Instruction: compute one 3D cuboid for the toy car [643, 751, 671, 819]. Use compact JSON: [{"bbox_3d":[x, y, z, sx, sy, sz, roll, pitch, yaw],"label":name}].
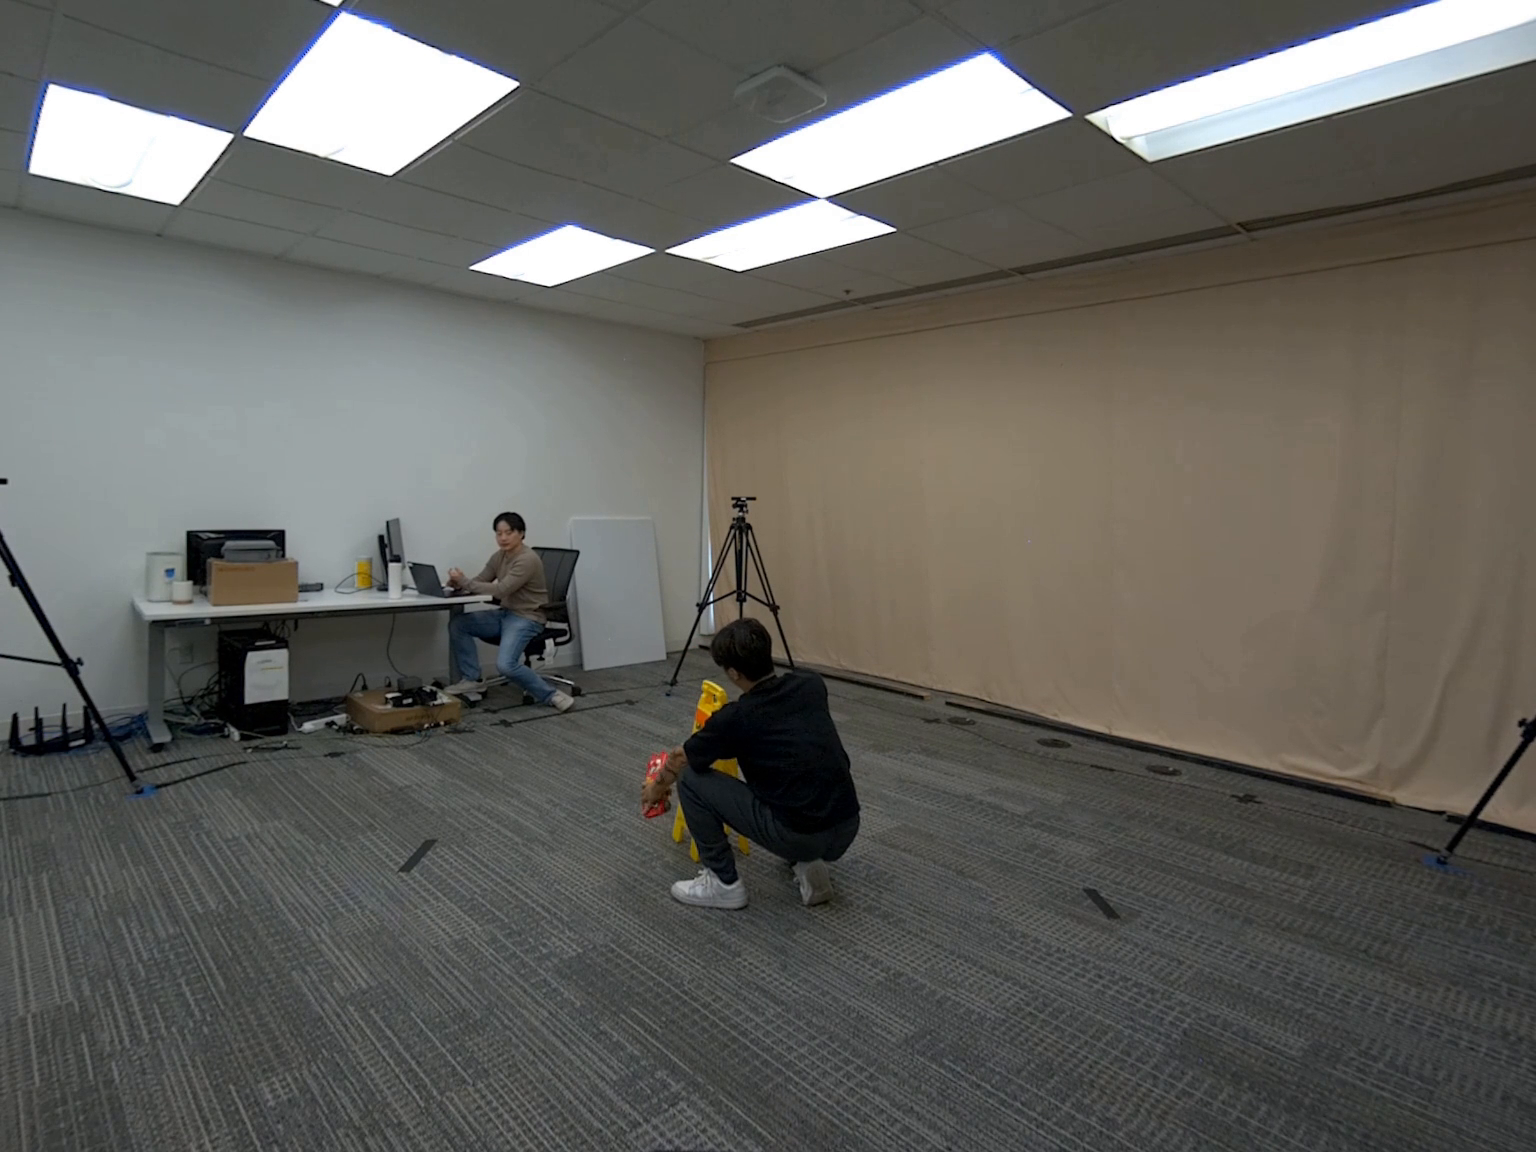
[{"bbox_3d":[-0.423,0.791,3.249,0.132,0.260,0.080,-24,-36,30],"label":"toy car"}]
